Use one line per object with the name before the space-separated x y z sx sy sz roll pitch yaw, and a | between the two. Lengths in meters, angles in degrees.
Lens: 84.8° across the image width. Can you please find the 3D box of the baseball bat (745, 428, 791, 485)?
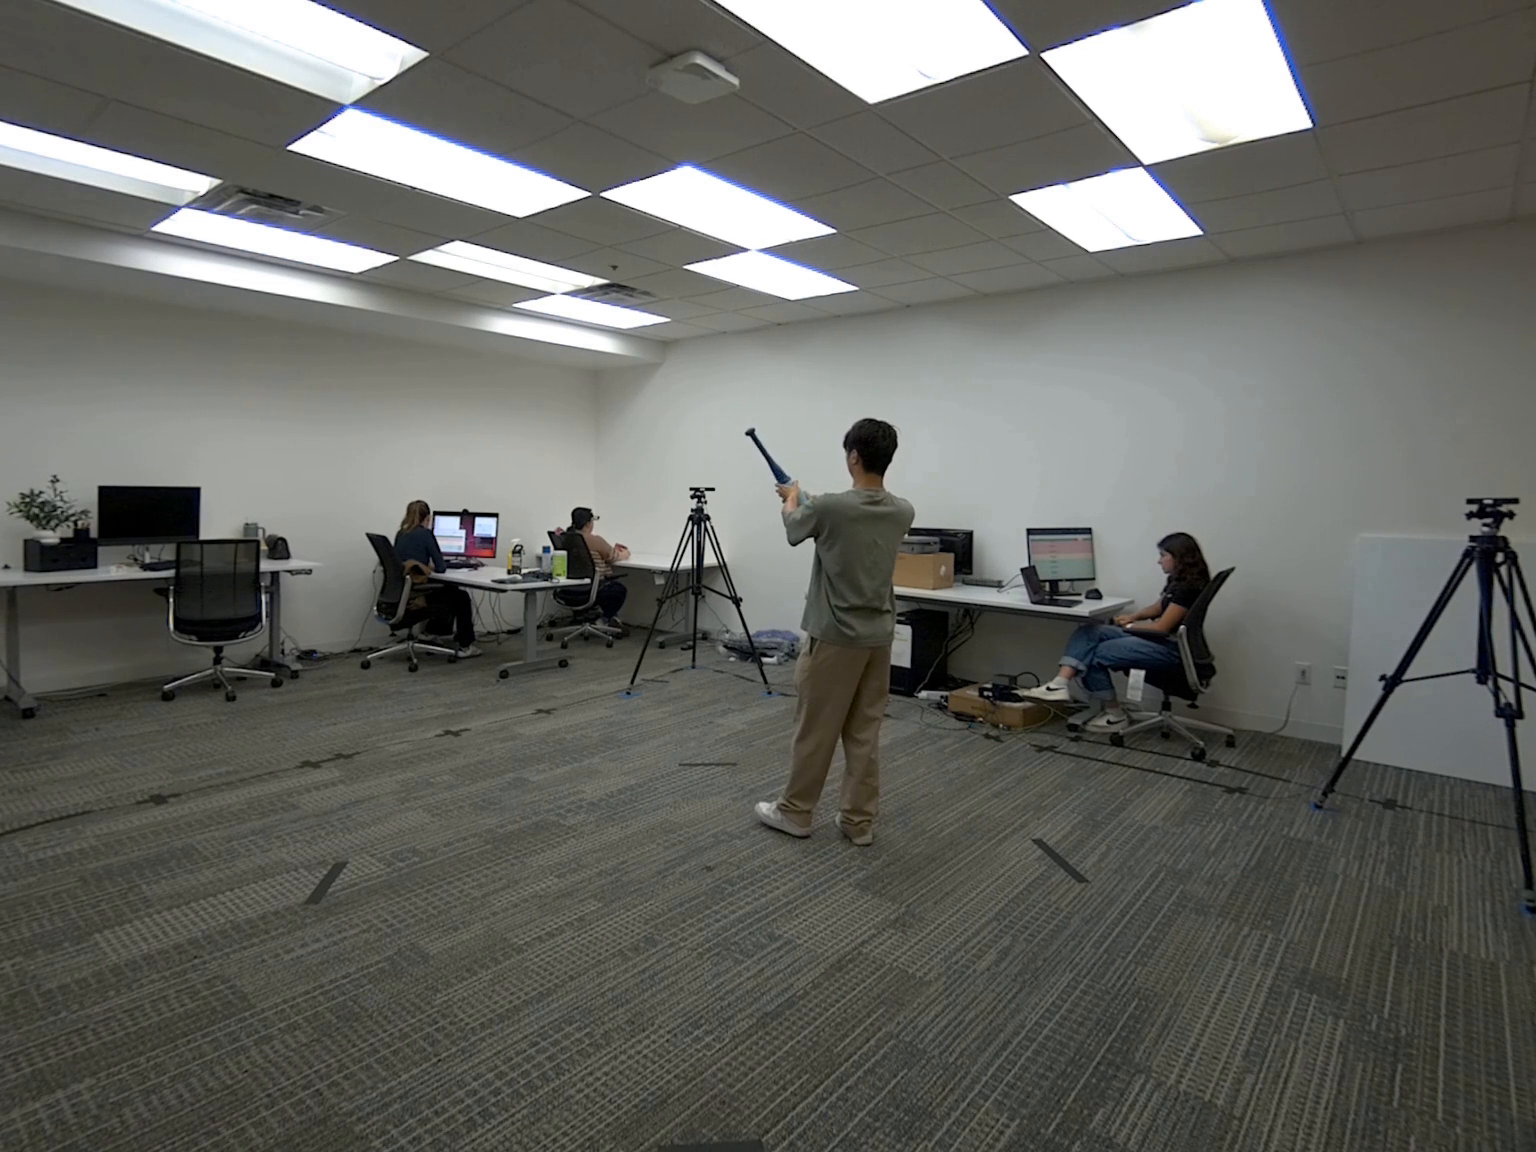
baseball bat | 0.052 -0.445 3.837 0.089 0.536 0.090 -34 9 5
